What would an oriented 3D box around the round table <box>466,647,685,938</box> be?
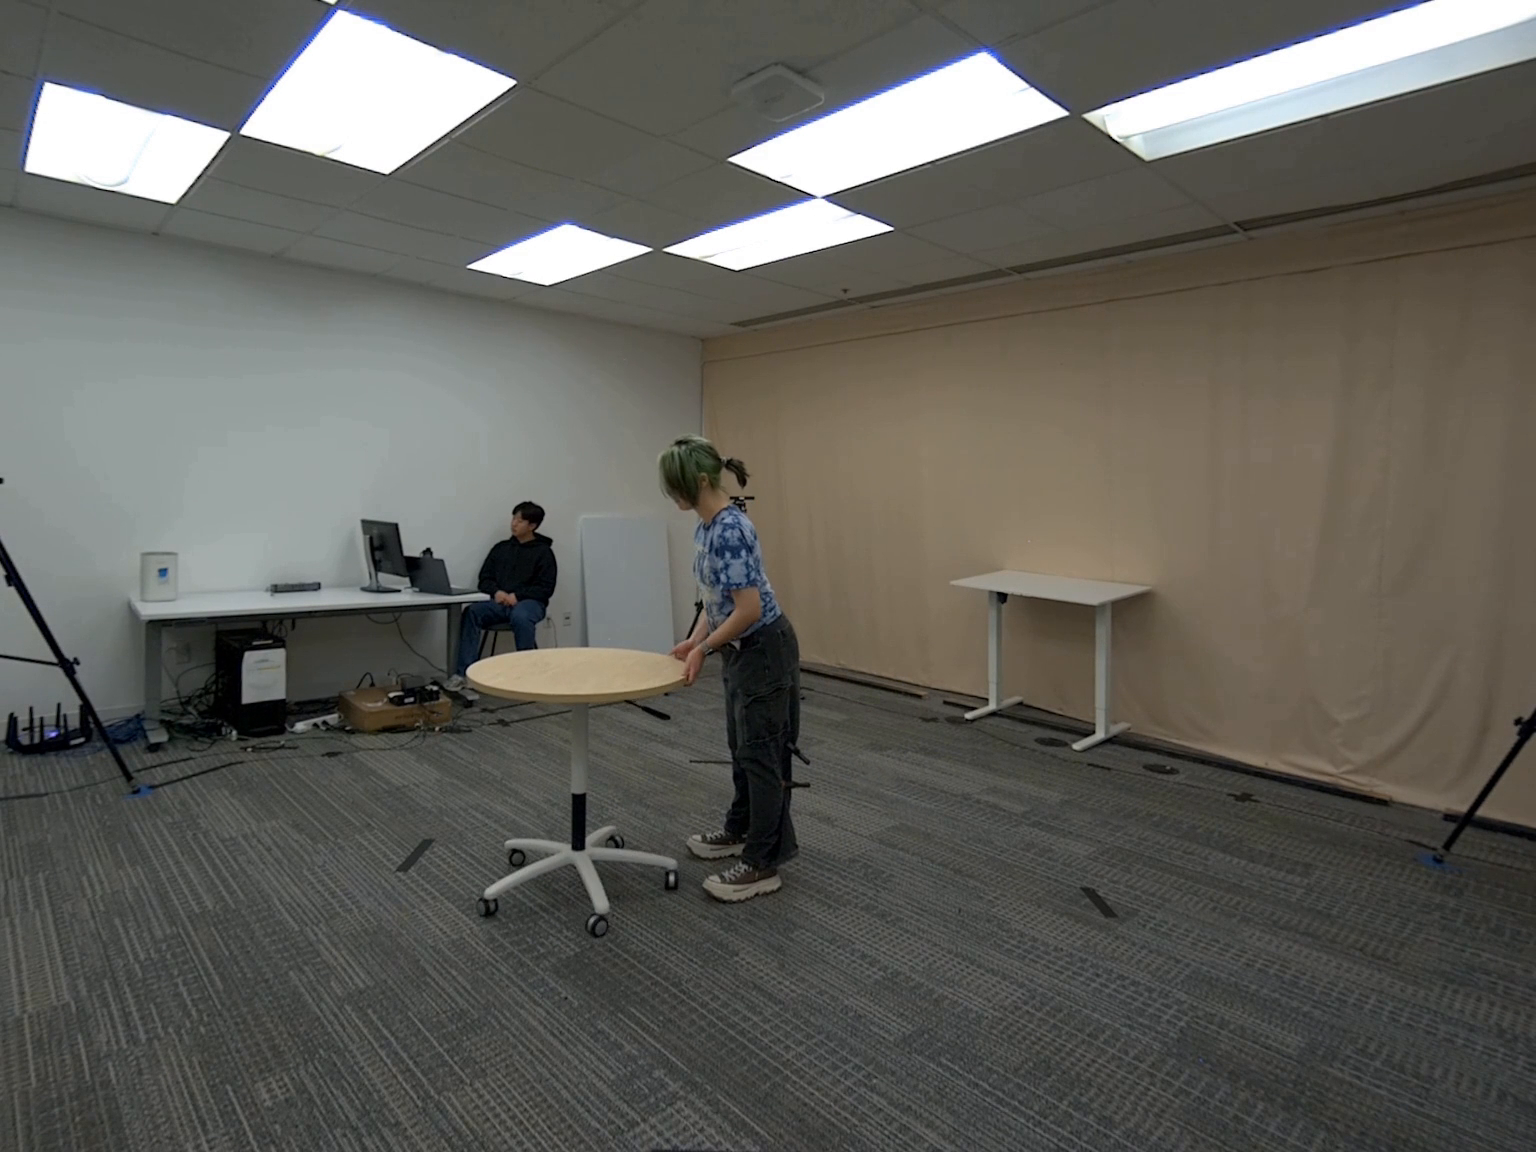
[{"bbox_3d":[-0.666,0.717,2.955,0.763,0.792,0.767,1,4,-1],"label":"round table"}]
